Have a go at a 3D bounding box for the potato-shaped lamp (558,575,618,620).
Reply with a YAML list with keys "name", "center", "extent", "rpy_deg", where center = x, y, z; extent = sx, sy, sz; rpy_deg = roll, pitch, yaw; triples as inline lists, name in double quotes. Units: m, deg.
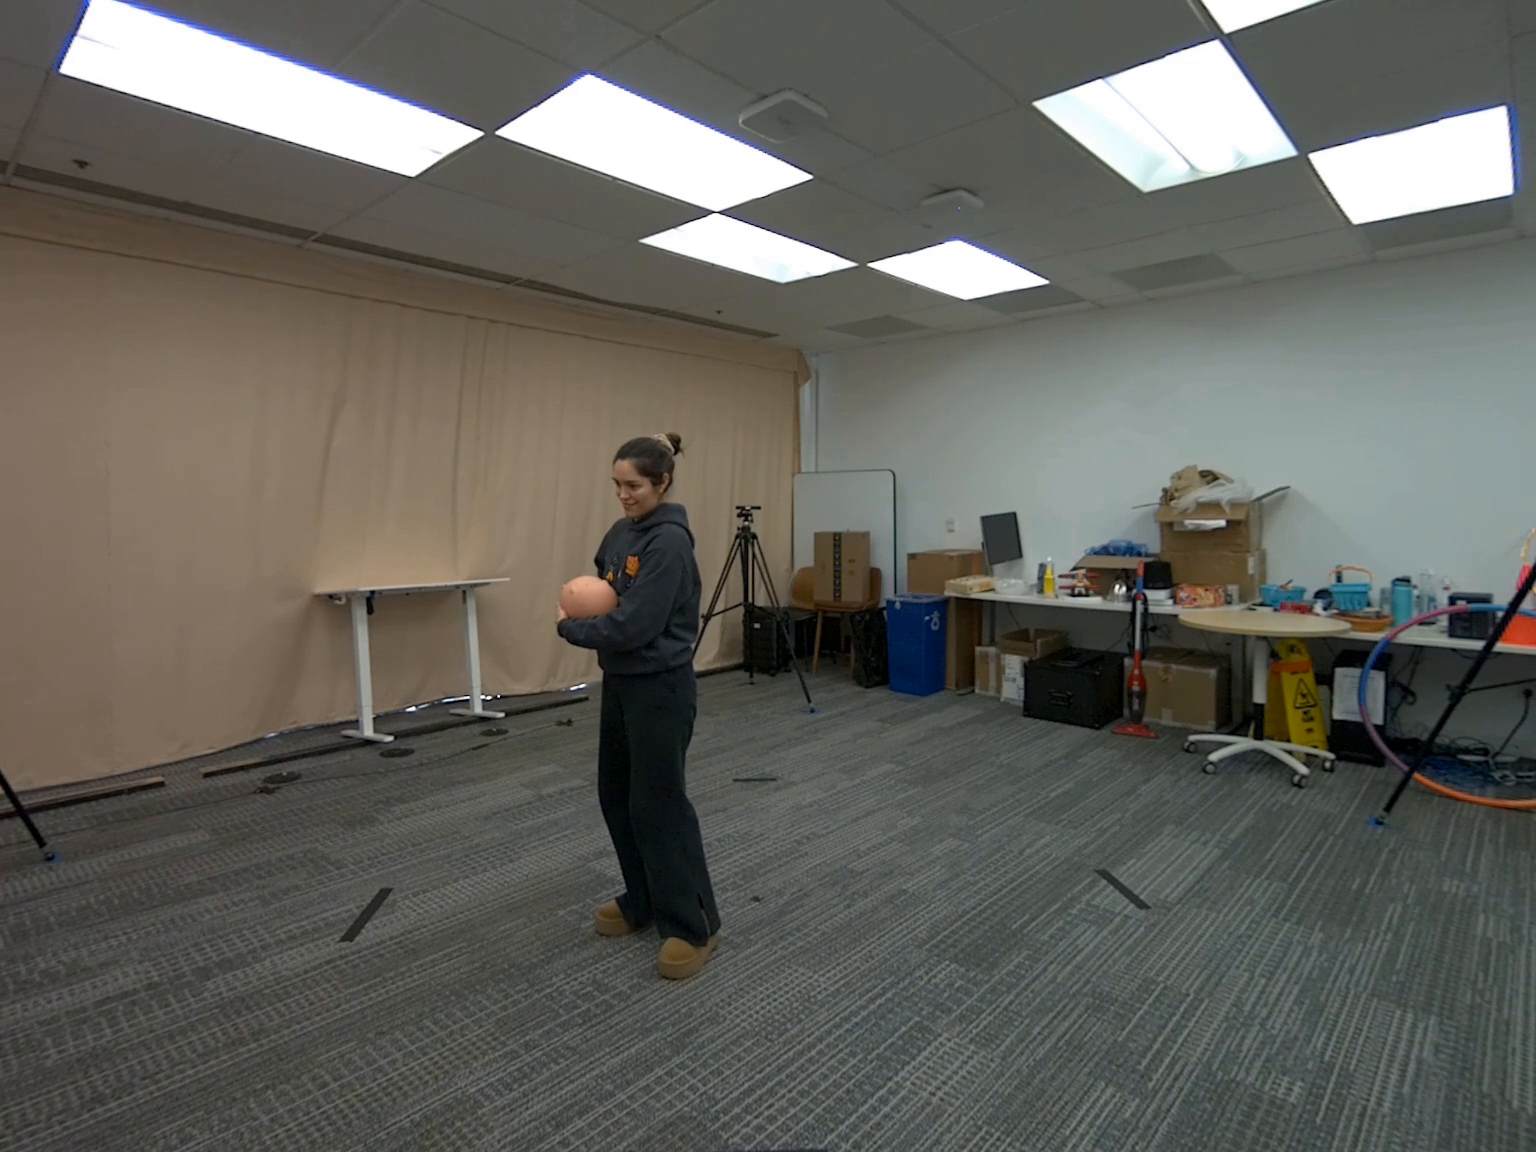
- name: "potato-shaped lamp"
  center: [-0.547, 0.085, 2.668]
  extent: [0.160, 0.171, 0.203]
  rpy_deg: [-10, -1, -34]
